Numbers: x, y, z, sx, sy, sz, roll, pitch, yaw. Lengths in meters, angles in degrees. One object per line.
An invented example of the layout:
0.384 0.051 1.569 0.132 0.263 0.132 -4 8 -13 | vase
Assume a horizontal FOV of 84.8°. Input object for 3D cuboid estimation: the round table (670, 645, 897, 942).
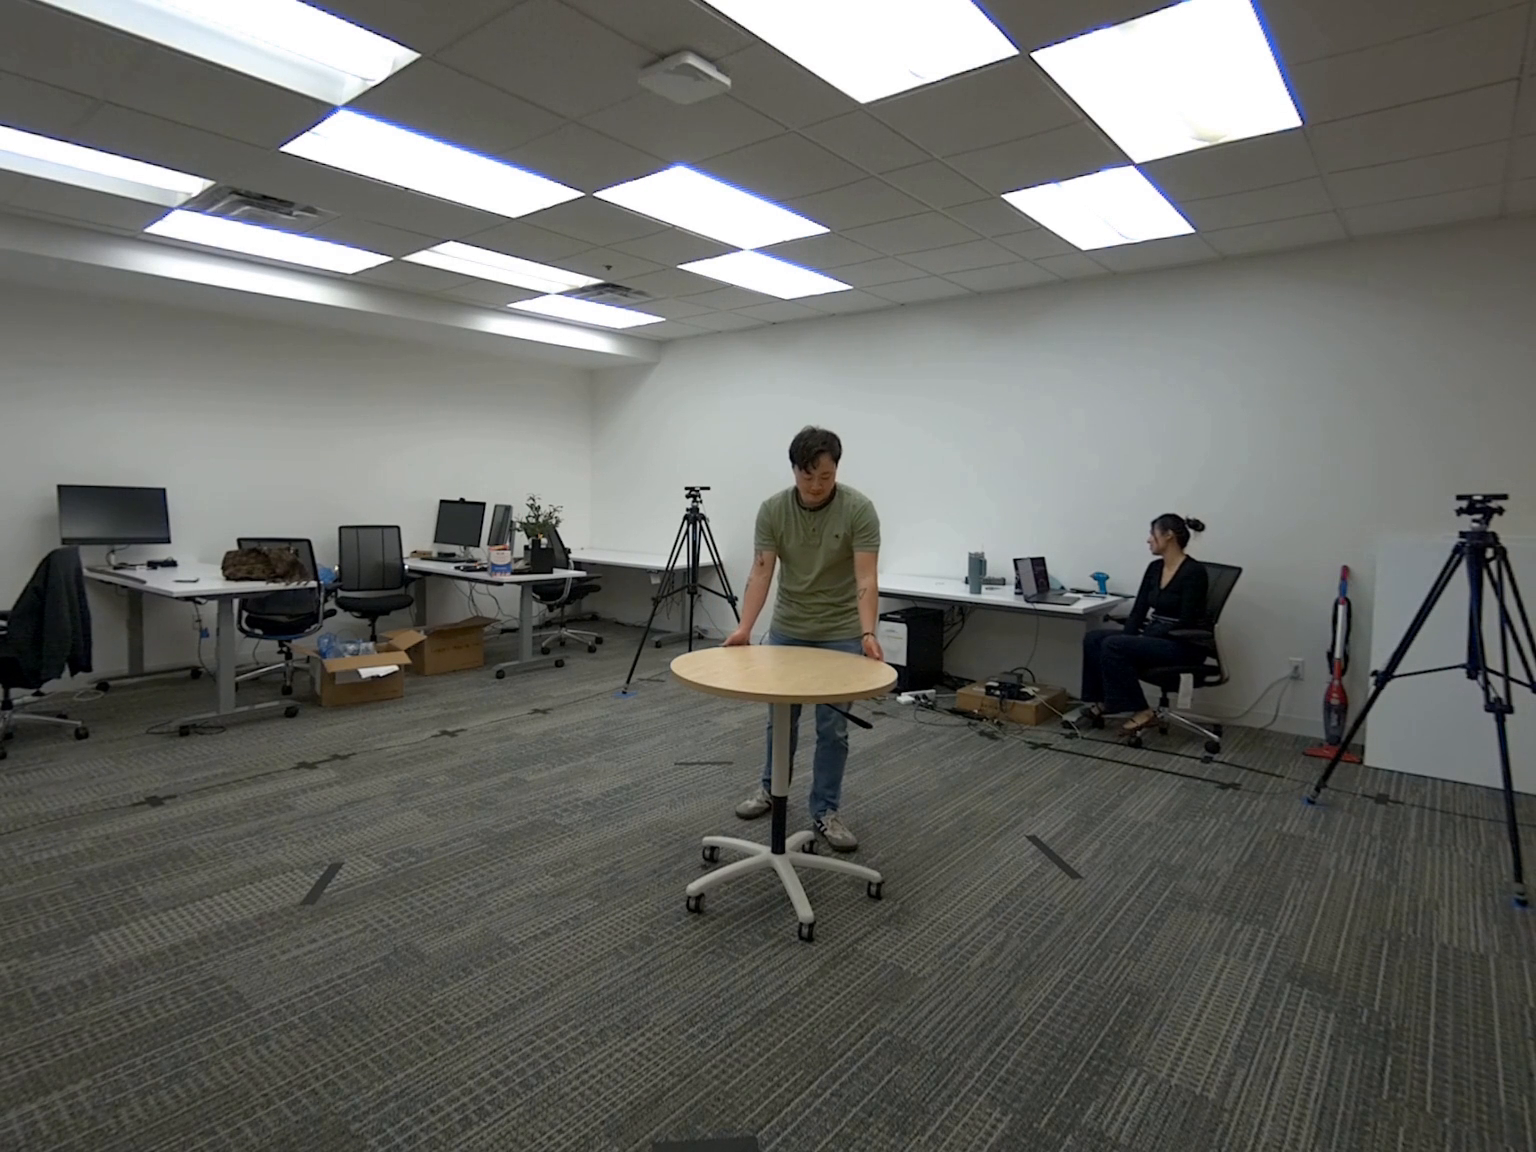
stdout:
0.028 0.699 2.920 0.763 0.791 0.768 1 4 -2 | round table
